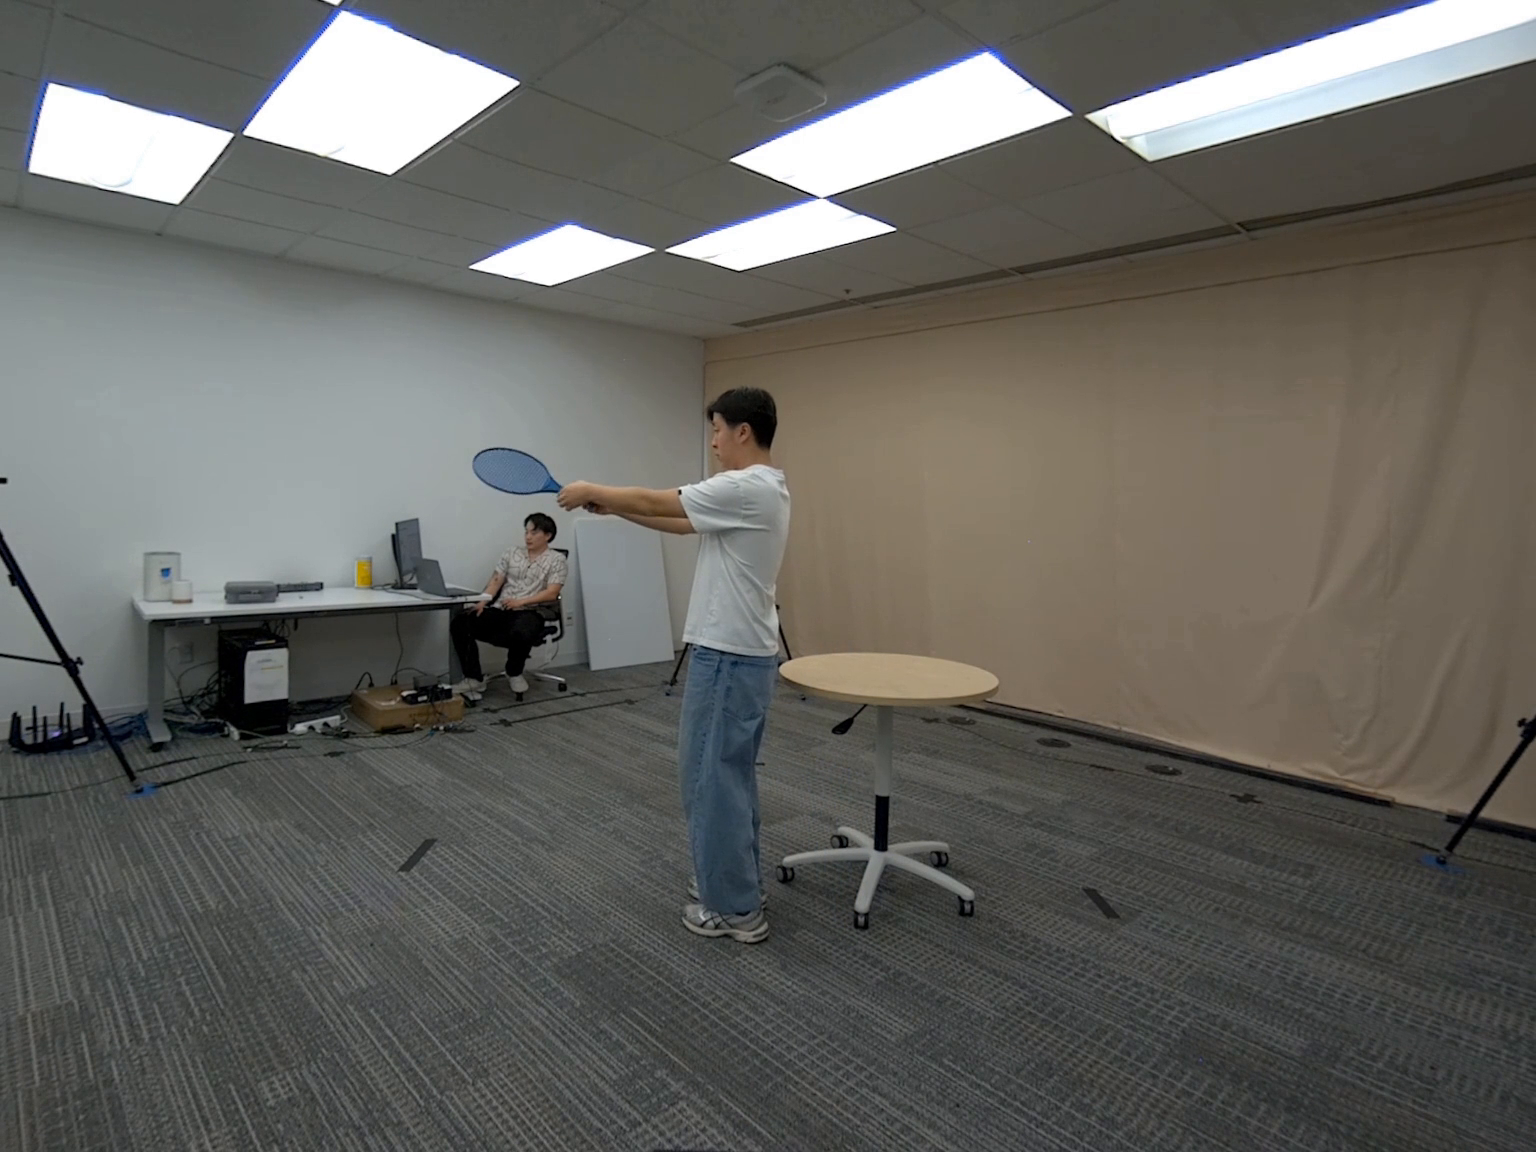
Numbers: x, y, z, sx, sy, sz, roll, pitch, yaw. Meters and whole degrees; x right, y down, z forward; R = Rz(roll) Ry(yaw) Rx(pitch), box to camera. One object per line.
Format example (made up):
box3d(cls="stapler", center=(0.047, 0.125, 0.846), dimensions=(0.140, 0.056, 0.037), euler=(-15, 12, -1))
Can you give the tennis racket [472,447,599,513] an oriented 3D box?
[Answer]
box3d(cls="tennis racket", center=(-0.794, -0.335, 2.866), dimensions=(0.432, 0.031, 0.216), euler=(22, 47, -1))
